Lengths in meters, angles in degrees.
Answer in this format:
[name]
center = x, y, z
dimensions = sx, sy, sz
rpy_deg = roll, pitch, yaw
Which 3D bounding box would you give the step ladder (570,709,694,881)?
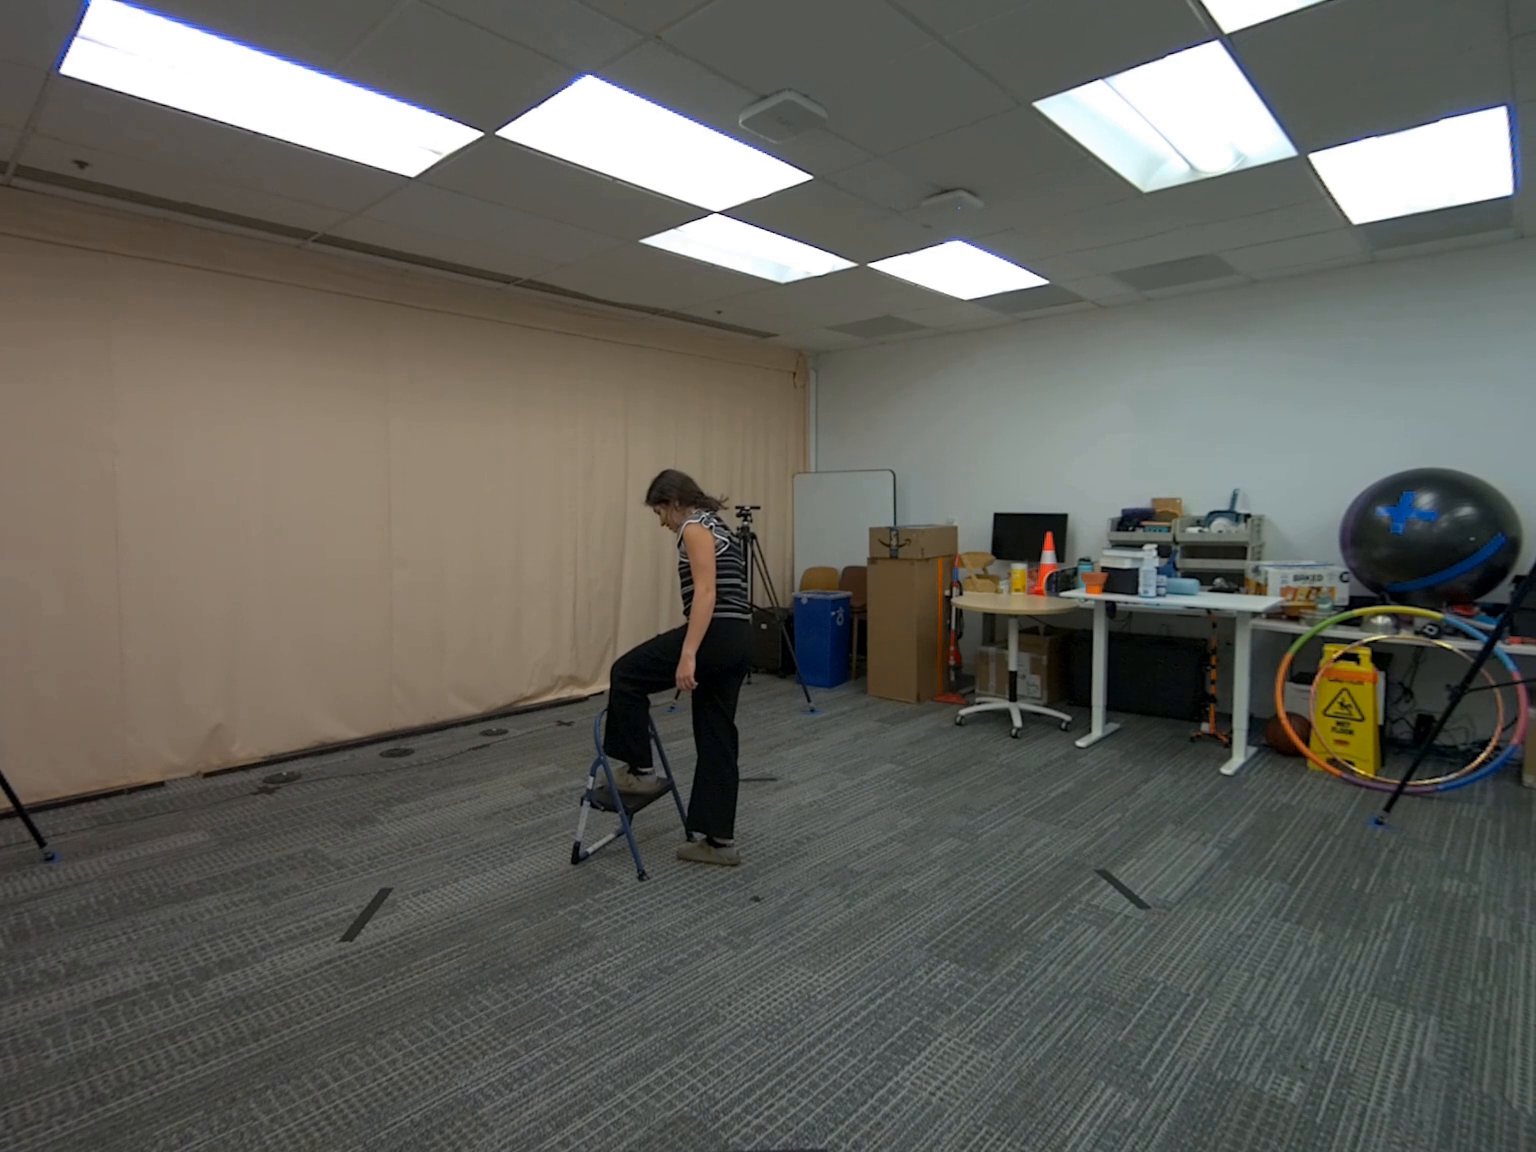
[step ladder]
center = -0.539, 0.810, 3.383
dimensions = 0.358, 0.605, 0.421
rpy_deg = 0, 3, 23
